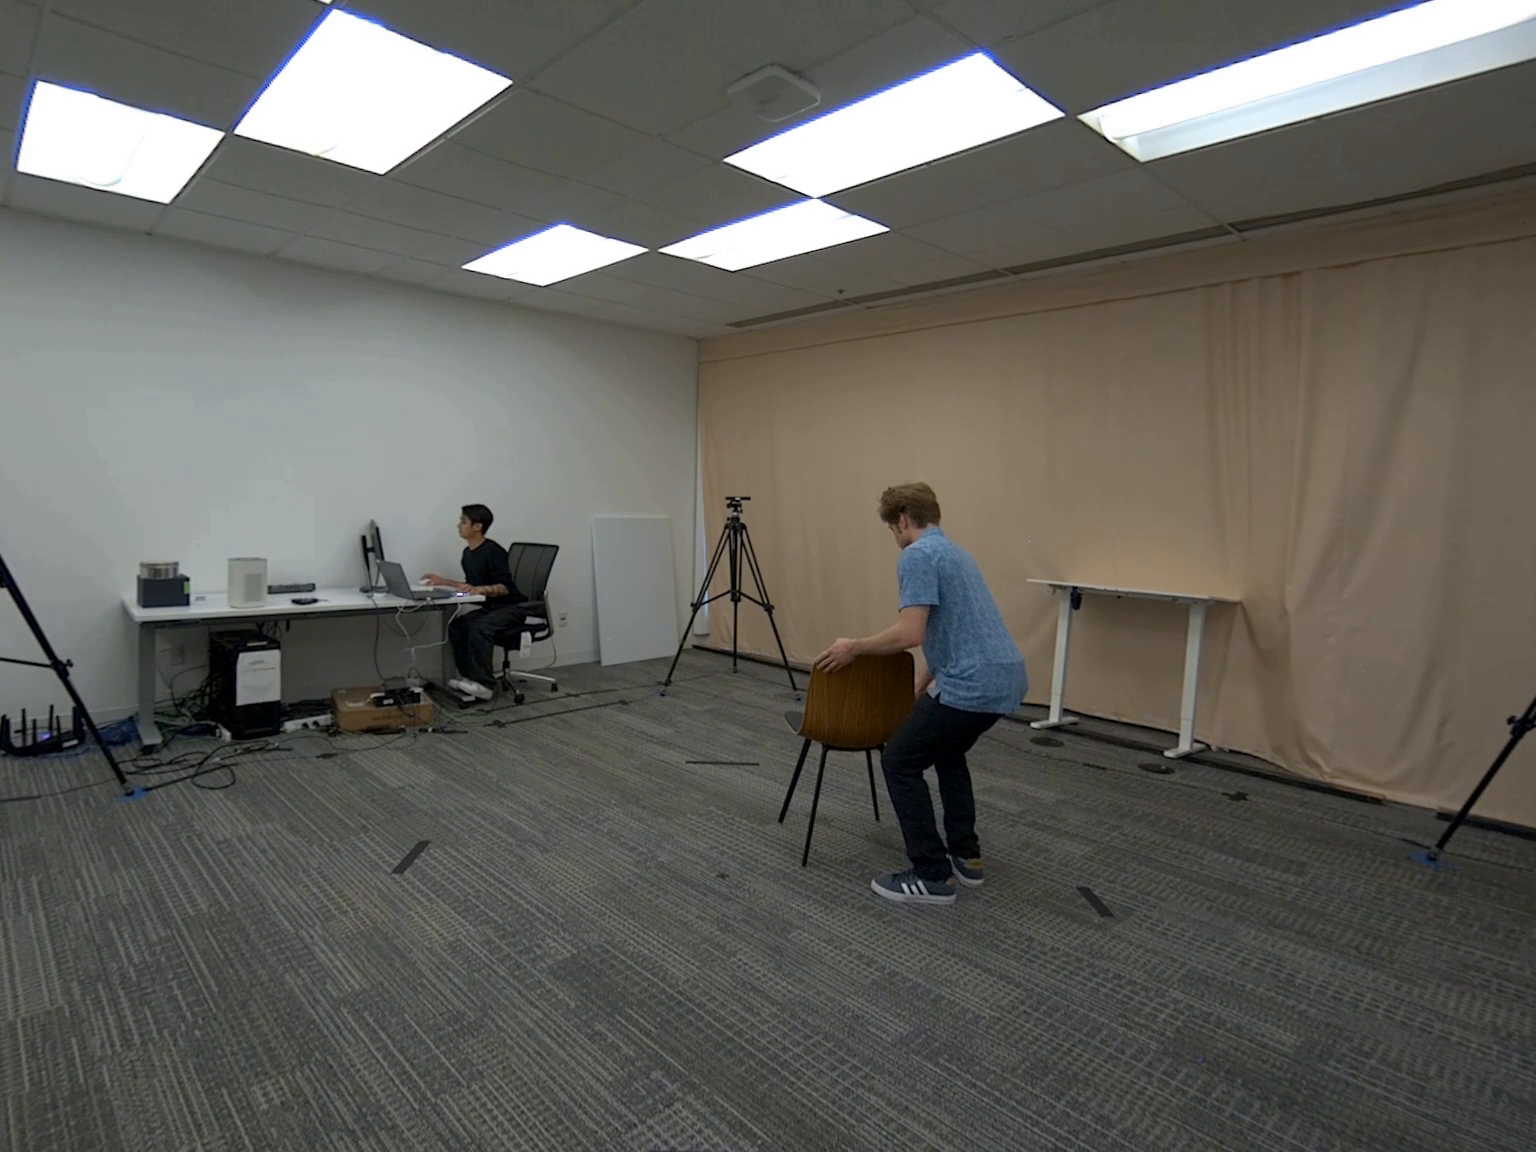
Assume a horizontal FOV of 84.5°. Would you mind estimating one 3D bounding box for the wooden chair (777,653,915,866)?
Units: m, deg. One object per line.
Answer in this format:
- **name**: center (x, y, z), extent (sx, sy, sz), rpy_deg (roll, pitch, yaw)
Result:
- **wooden chair**: center (0.306, 0.654, 3.429), extent (0.474, 0.873, 0.530), rpy_deg (1, 7, -11)
